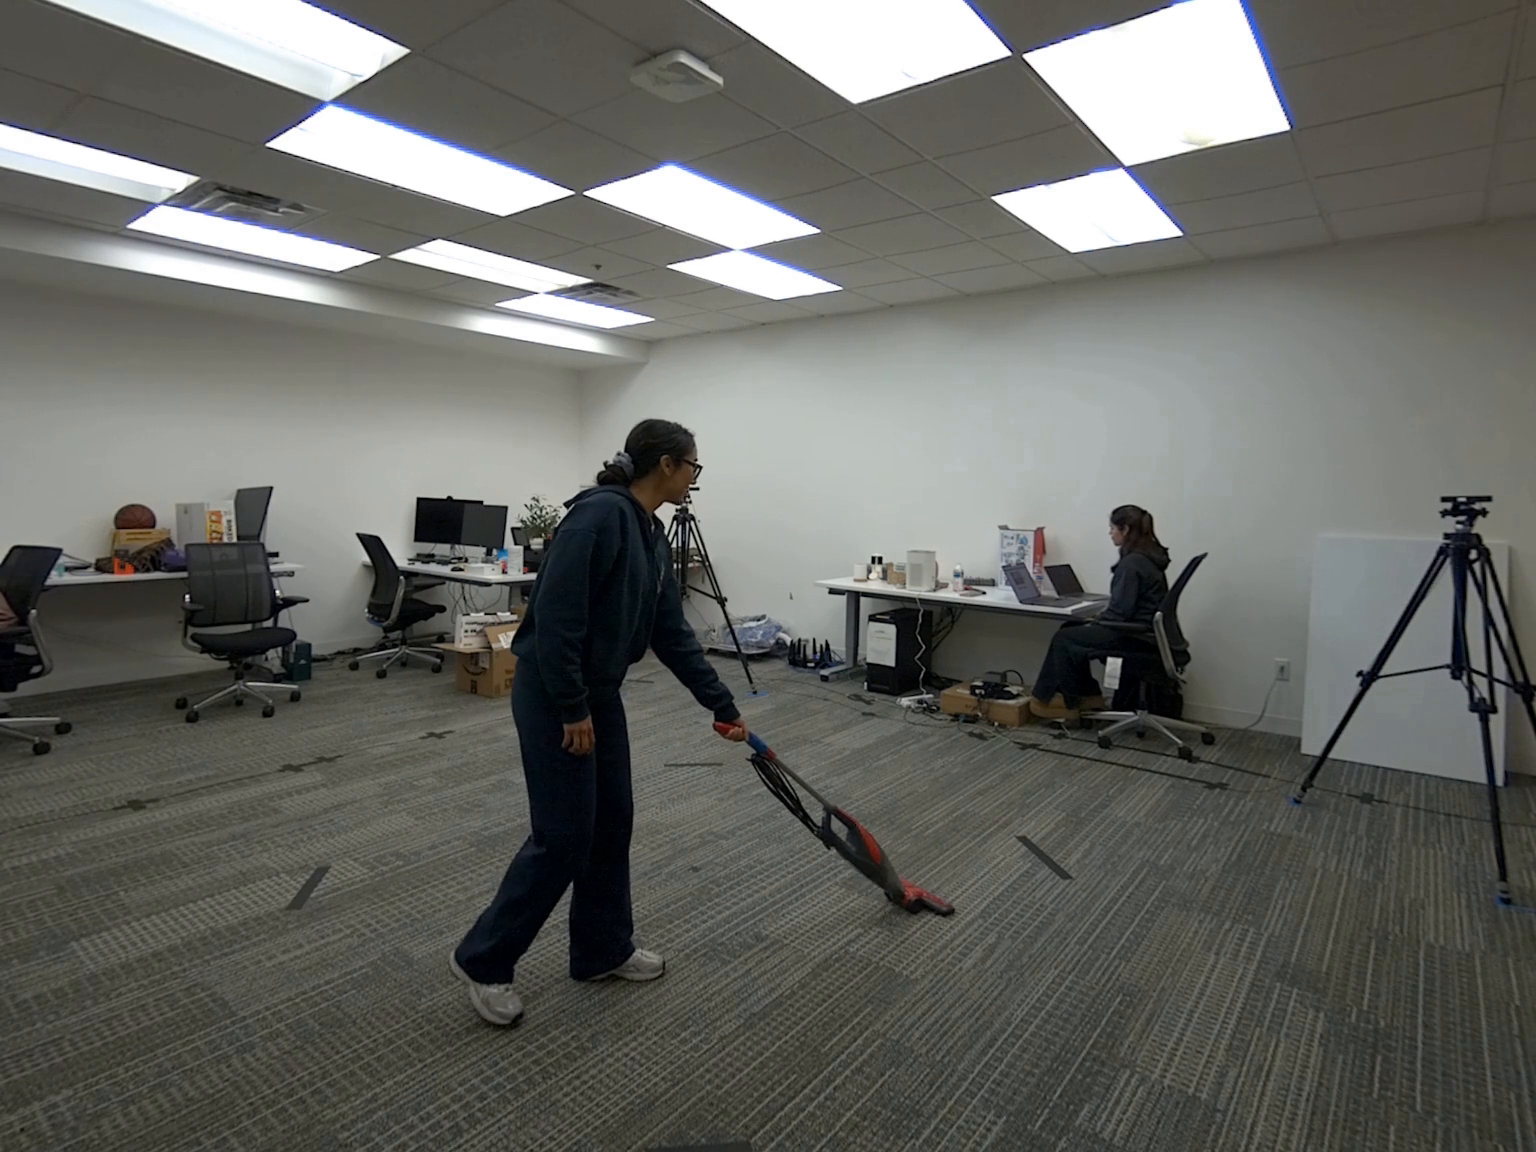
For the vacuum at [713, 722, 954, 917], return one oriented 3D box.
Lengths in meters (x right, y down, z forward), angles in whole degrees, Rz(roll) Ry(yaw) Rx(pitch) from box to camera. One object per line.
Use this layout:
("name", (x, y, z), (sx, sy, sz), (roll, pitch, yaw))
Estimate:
("vacuum", (0.157, 0.761, 2.667), (1.016, 0.144, 0.260), (46, -23, -25))
